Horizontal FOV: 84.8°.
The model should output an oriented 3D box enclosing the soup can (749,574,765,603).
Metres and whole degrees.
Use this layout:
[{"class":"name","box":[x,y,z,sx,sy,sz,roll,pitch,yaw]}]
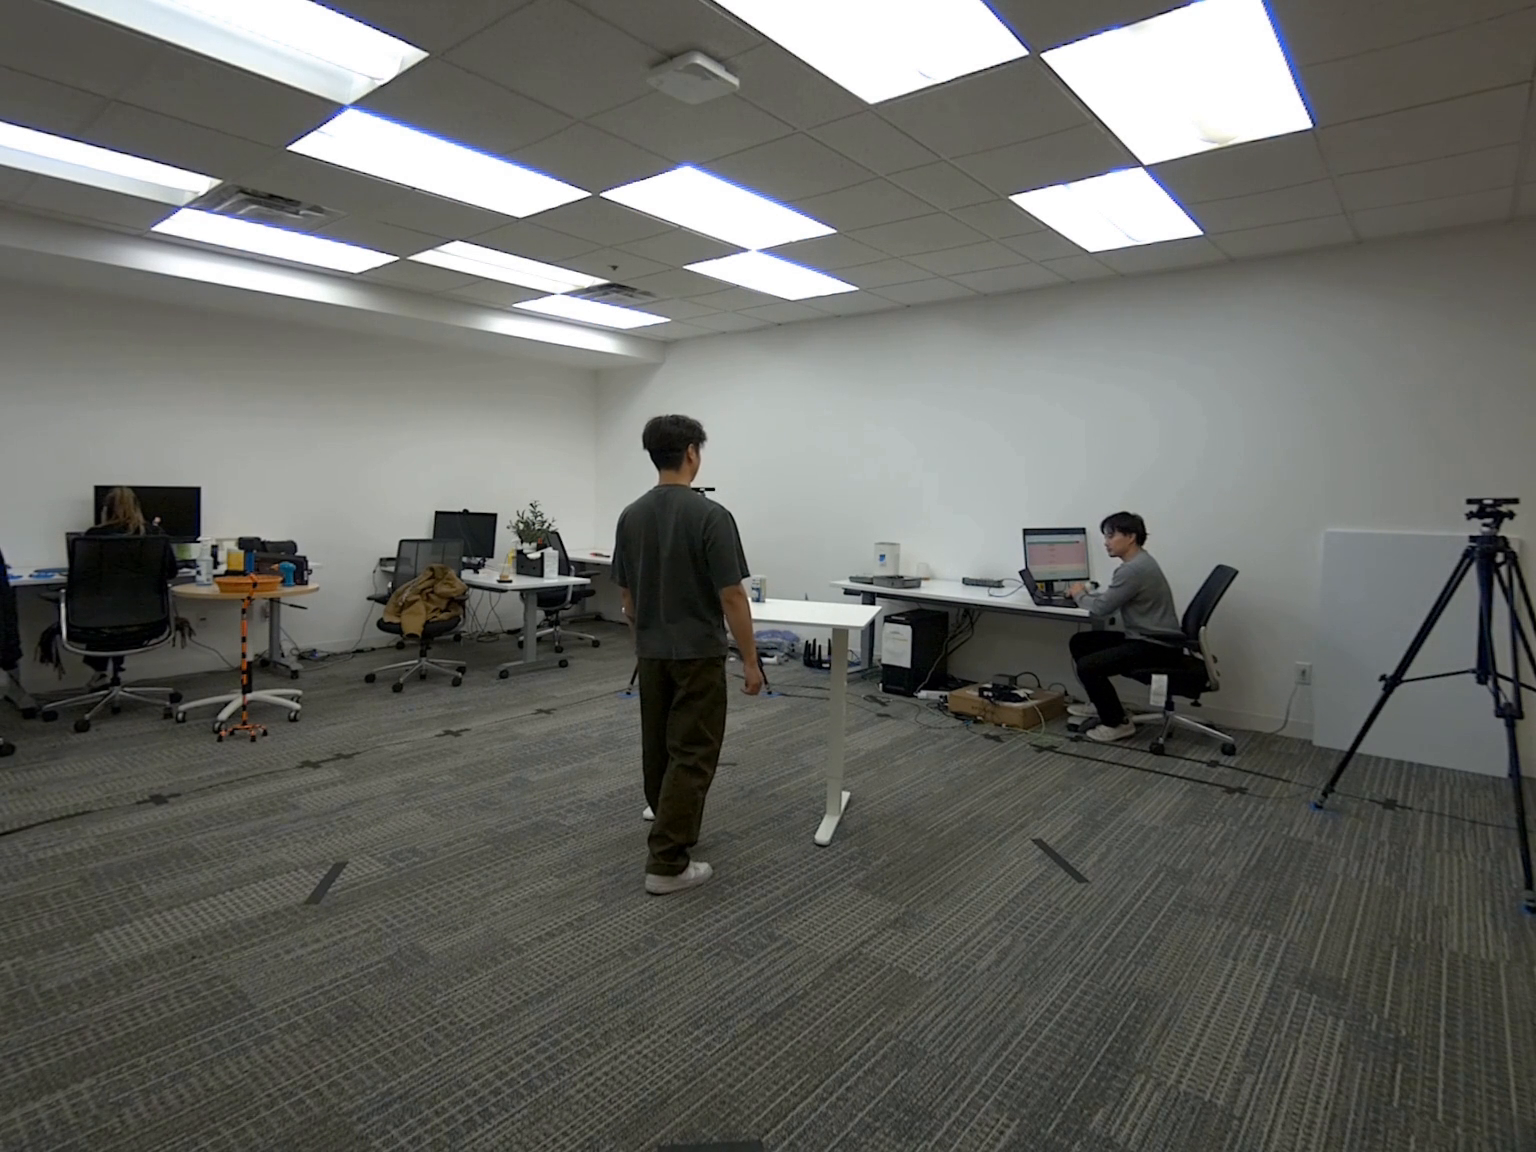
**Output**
[{"class":"soup can","box":[-0.053,0.054,3.851,0.067,0.121,0.067,0,1,-2]}]
